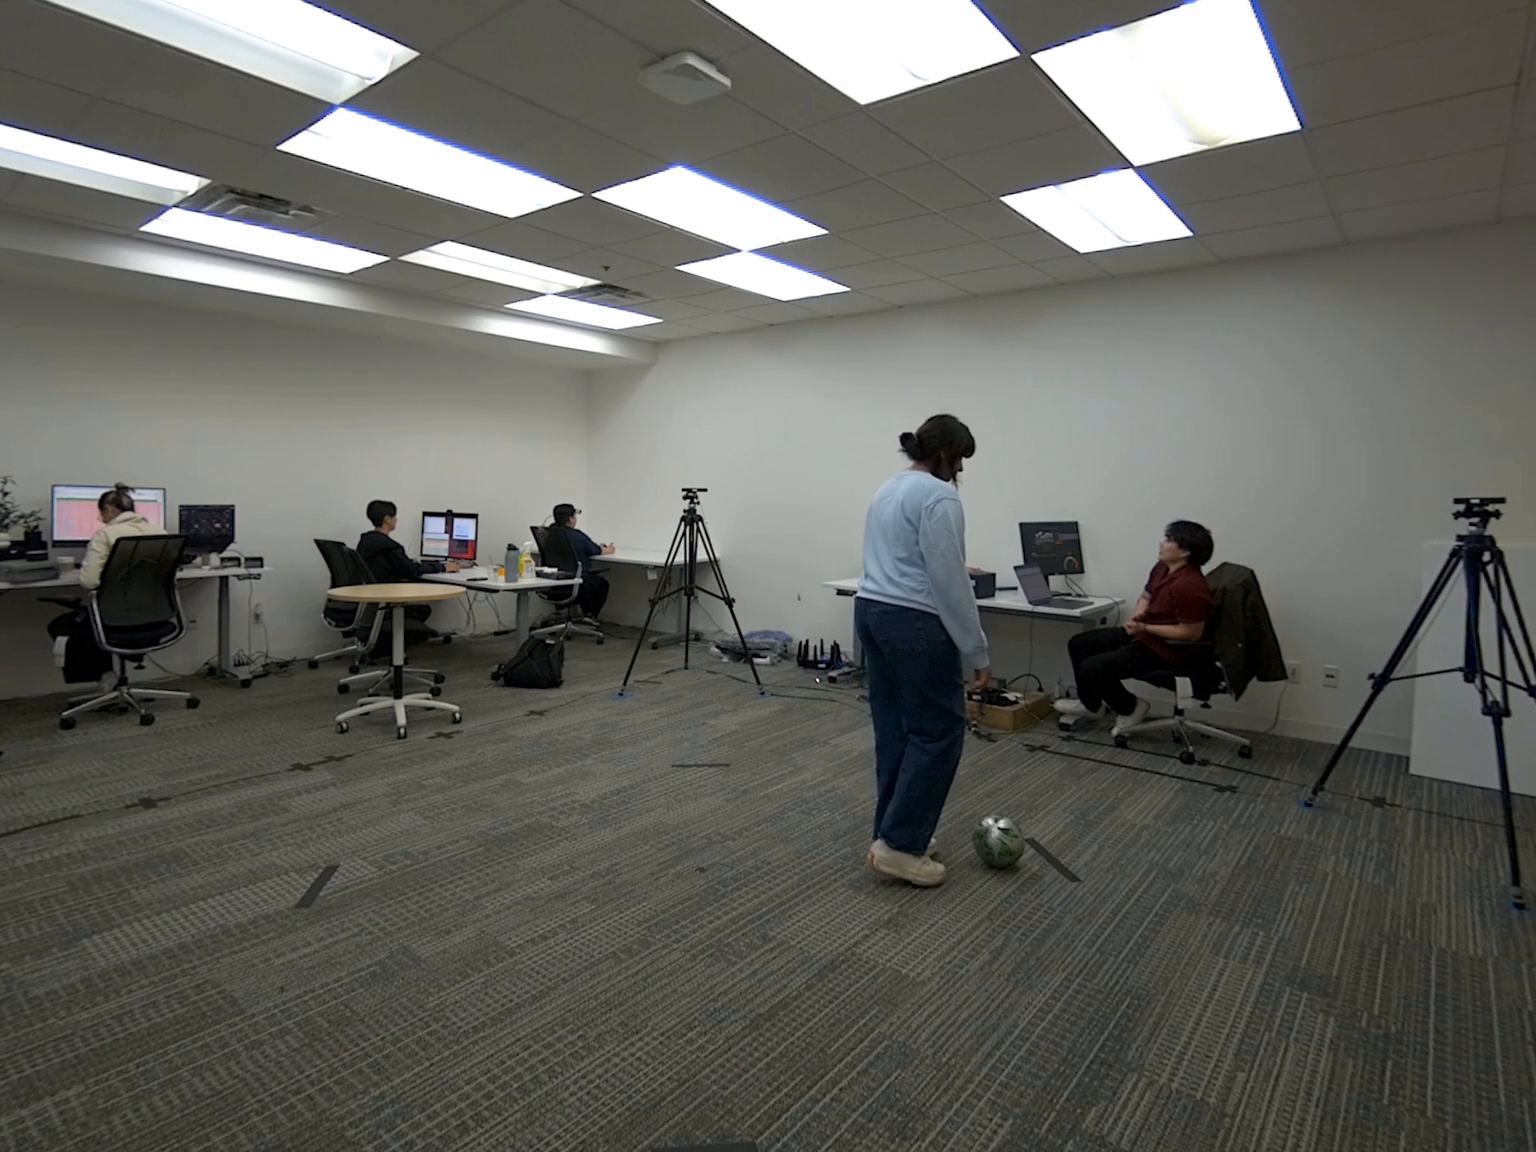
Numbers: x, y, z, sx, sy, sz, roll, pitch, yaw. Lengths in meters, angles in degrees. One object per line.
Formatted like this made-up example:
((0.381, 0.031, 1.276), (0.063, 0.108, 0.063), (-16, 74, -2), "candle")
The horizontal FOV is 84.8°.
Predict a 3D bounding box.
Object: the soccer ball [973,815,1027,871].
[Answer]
((0.864, 0.999, 3.195), (0.187, 0.187, 0.188), (1, 4, -2), "soccer ball")
